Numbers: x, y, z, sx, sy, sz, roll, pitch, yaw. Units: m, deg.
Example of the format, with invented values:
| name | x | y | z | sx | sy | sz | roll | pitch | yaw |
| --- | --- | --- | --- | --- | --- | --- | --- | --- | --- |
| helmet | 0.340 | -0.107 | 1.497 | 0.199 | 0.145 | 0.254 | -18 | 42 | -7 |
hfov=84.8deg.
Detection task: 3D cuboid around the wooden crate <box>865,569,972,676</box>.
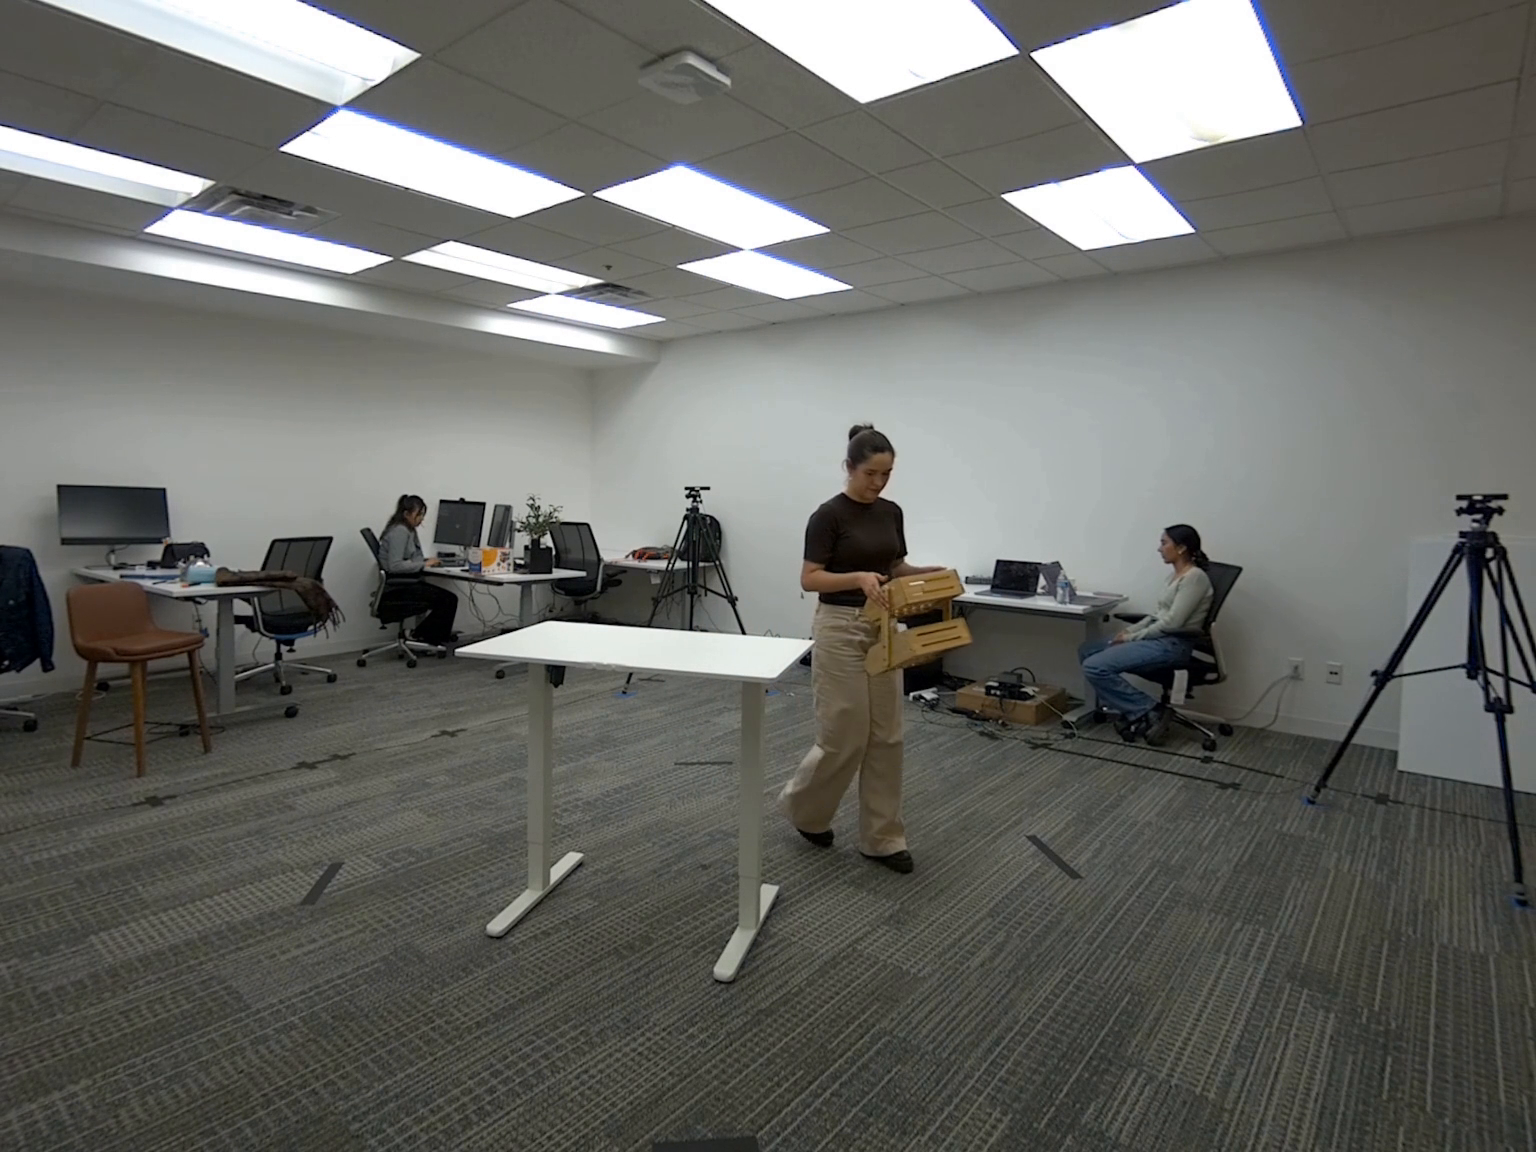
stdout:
| name | x | y | z | sx | sy | sz | roll | pitch | yaw |
| --- | --- | --- | --- | --- | --- | --- | --- | --- | --- |
| wooden crate | 0.501 | 0.159 | 3.022 | 0.316 | 0.279 | 0.304 | -7 | -19 | -36 |
